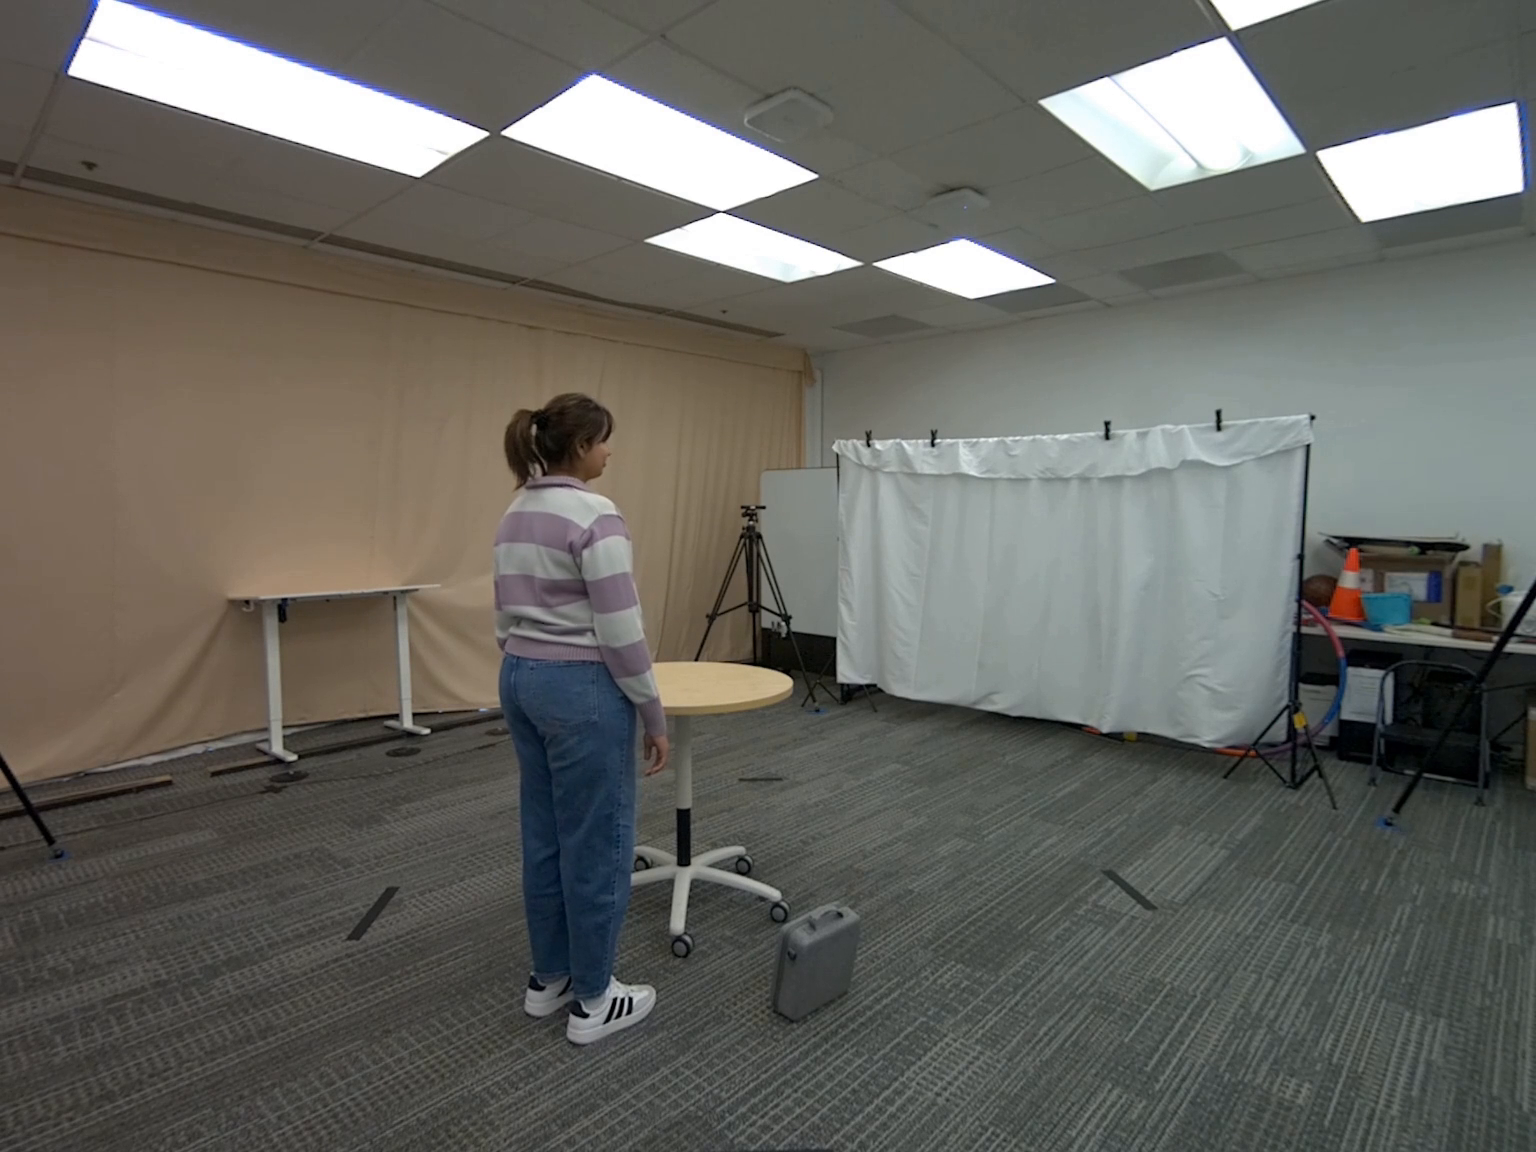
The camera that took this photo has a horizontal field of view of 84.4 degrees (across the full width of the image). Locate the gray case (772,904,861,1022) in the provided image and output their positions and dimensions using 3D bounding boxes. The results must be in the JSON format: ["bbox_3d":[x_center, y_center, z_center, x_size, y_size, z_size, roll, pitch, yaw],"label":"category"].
[{"bbox_3d":[0.140,1.066,2.344,0.249,0.259,0.108,-4,15,-41],"label":"gray case"}]
